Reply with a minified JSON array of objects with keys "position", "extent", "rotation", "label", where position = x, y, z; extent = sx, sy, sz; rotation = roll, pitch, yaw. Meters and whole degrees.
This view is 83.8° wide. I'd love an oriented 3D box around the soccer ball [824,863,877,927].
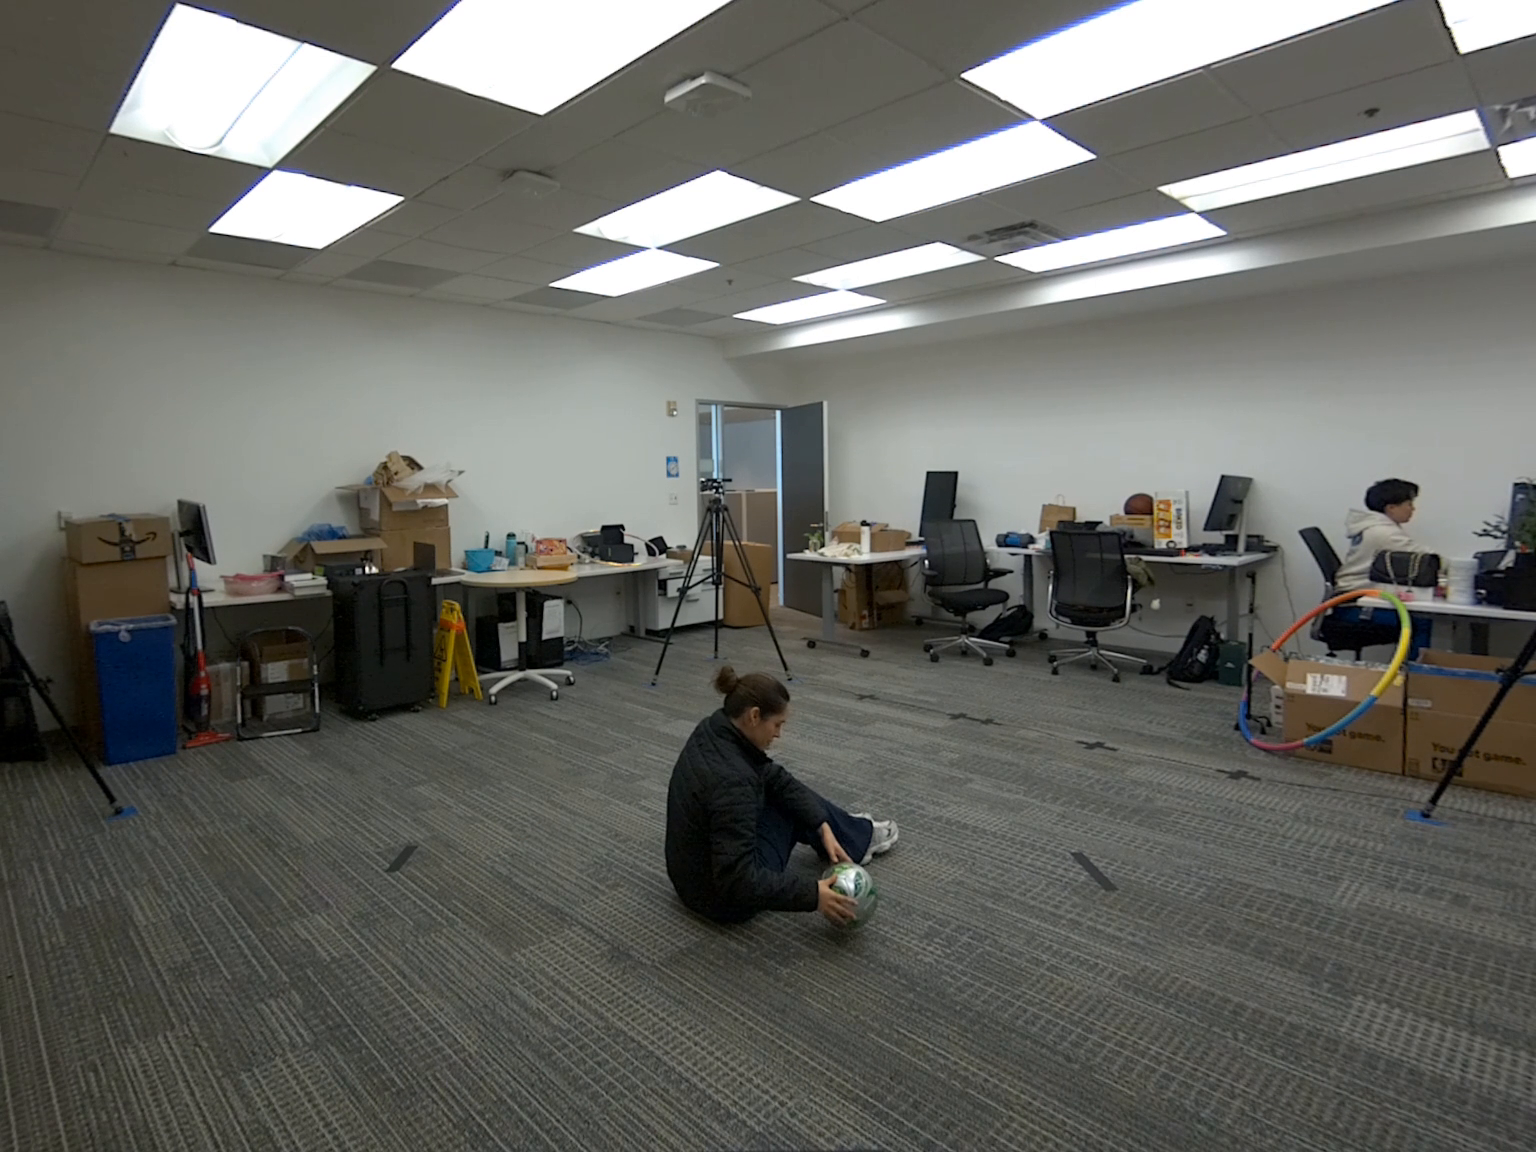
[{"position":[0.234,0.956,2.612],"extent":[0.187,0.187,0.188],"rotation":[0,1,-2],"label":"soccer ball"}]
